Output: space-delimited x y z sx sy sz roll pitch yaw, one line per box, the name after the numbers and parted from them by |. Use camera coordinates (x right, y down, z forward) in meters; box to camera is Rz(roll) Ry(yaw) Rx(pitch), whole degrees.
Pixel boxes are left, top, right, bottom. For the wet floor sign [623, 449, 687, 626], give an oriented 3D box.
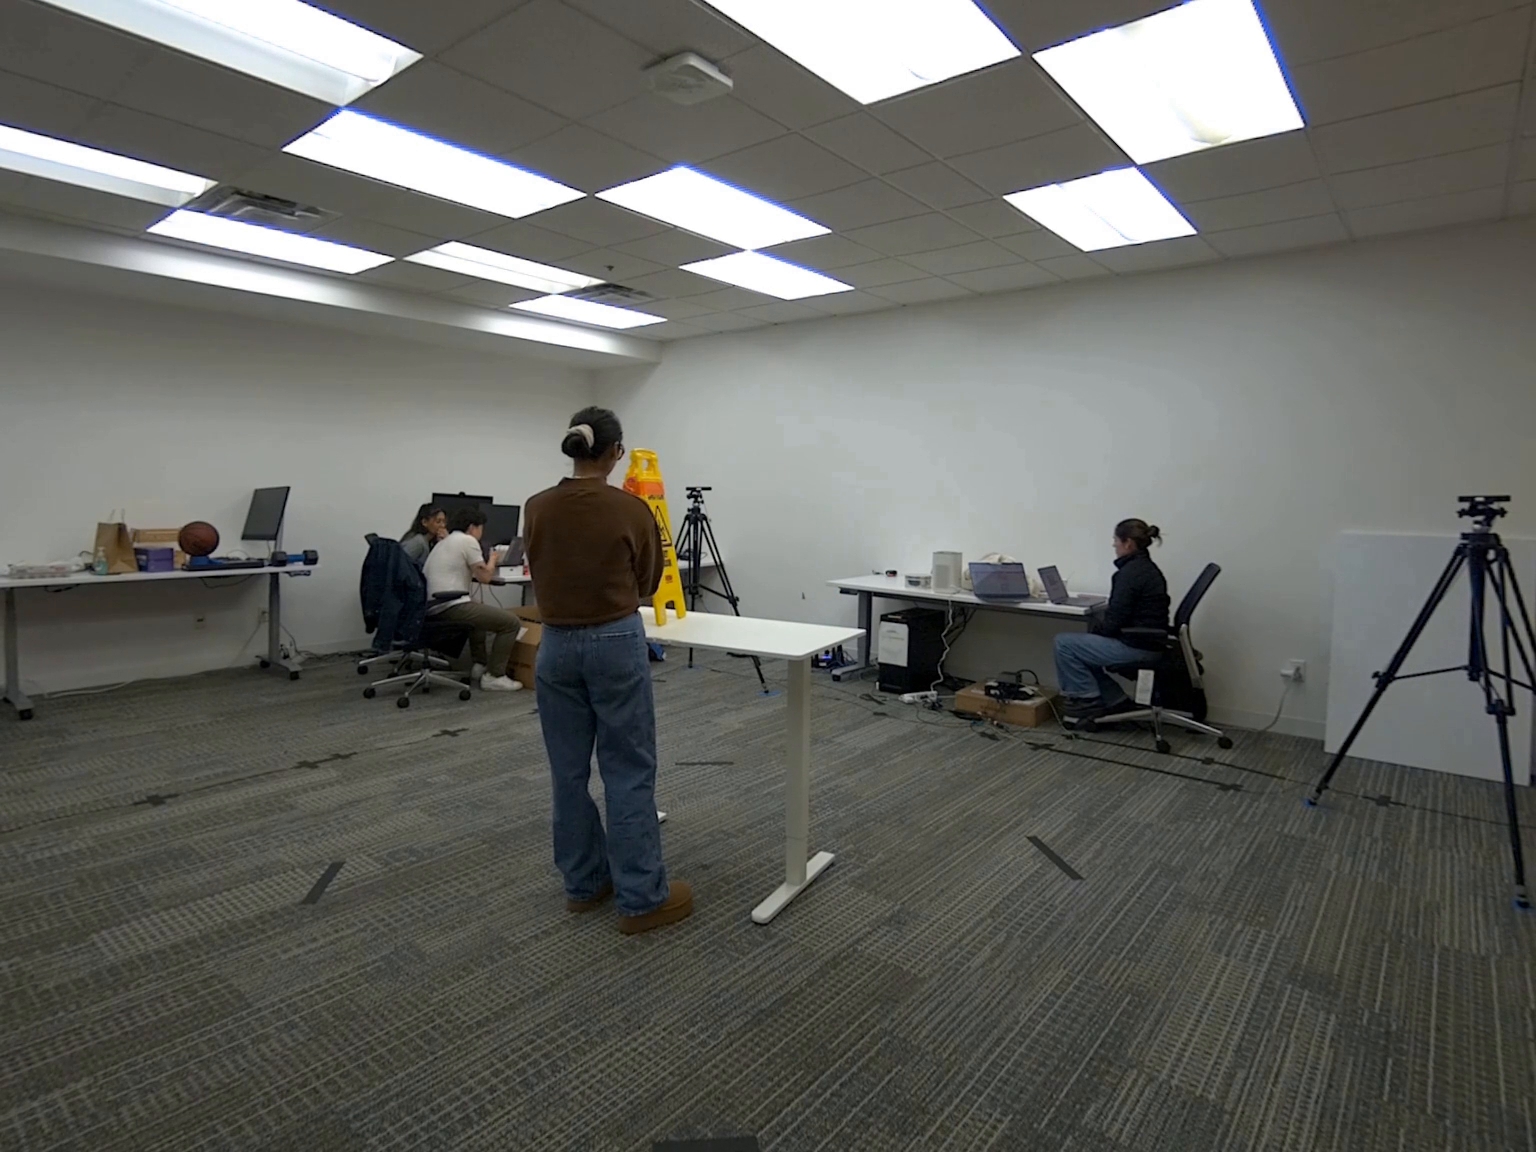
-0.497 -0.161 3.267 0.295 0.645 0.277 2 2 17 | wet floor sign
